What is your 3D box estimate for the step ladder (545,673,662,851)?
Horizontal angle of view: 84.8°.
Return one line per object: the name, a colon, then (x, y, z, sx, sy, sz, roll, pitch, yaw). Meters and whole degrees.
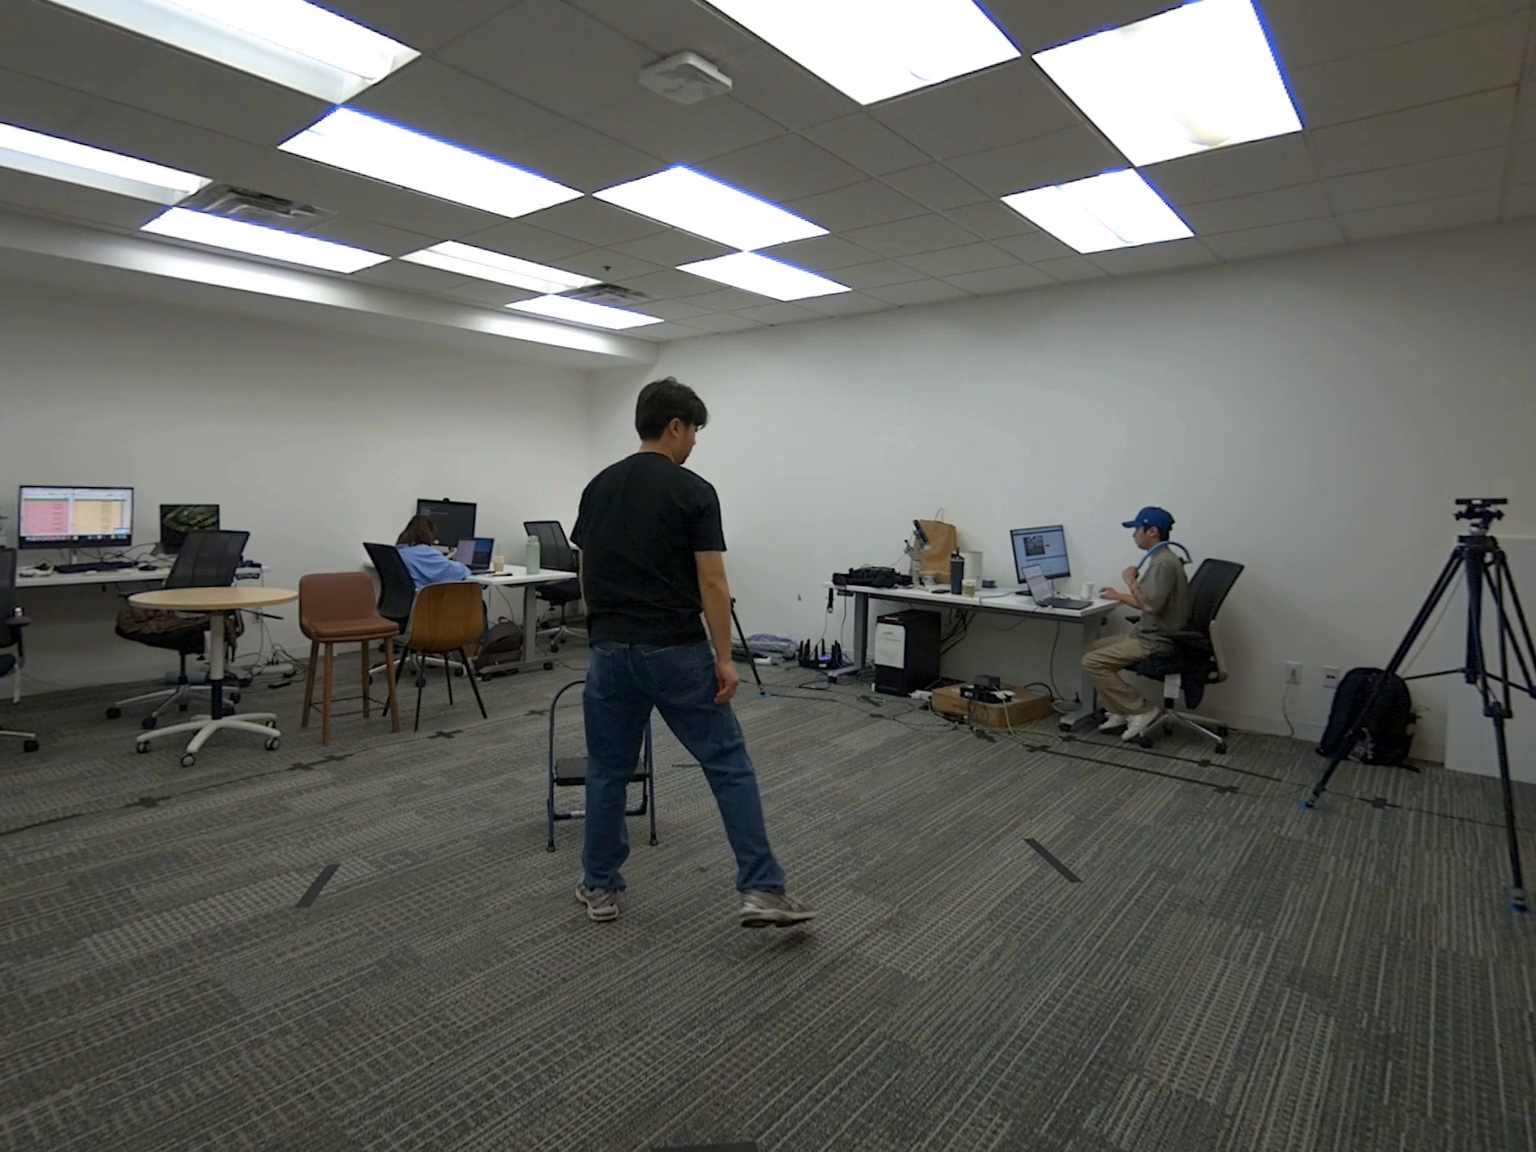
step ladder: (-0.680, 0.730, 3.418, 0.424, 0.604, 0.355, 1, 4, -14)
